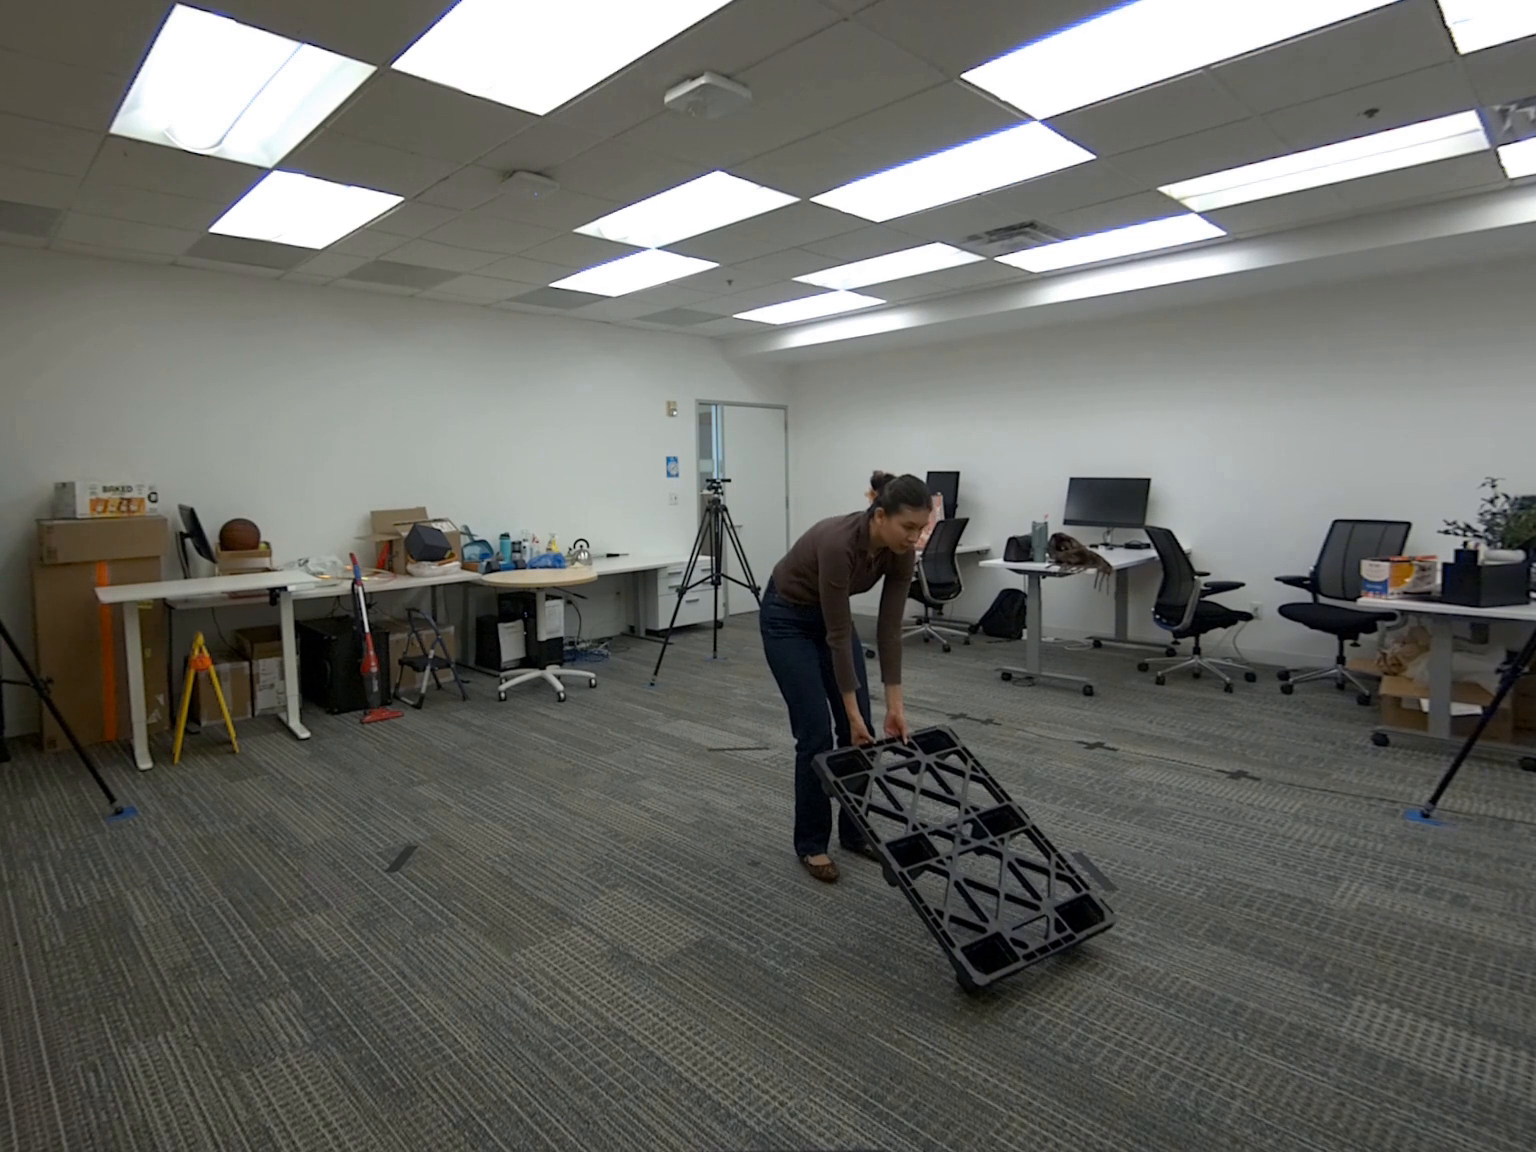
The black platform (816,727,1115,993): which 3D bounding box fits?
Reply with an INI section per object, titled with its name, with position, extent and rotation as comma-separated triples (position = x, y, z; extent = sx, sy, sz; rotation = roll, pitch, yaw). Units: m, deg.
[black platform]
position = 0.577, 0.839, 2.635
extent = 0.590, 0.141, 0.838
rotation = -4, 38, -32
